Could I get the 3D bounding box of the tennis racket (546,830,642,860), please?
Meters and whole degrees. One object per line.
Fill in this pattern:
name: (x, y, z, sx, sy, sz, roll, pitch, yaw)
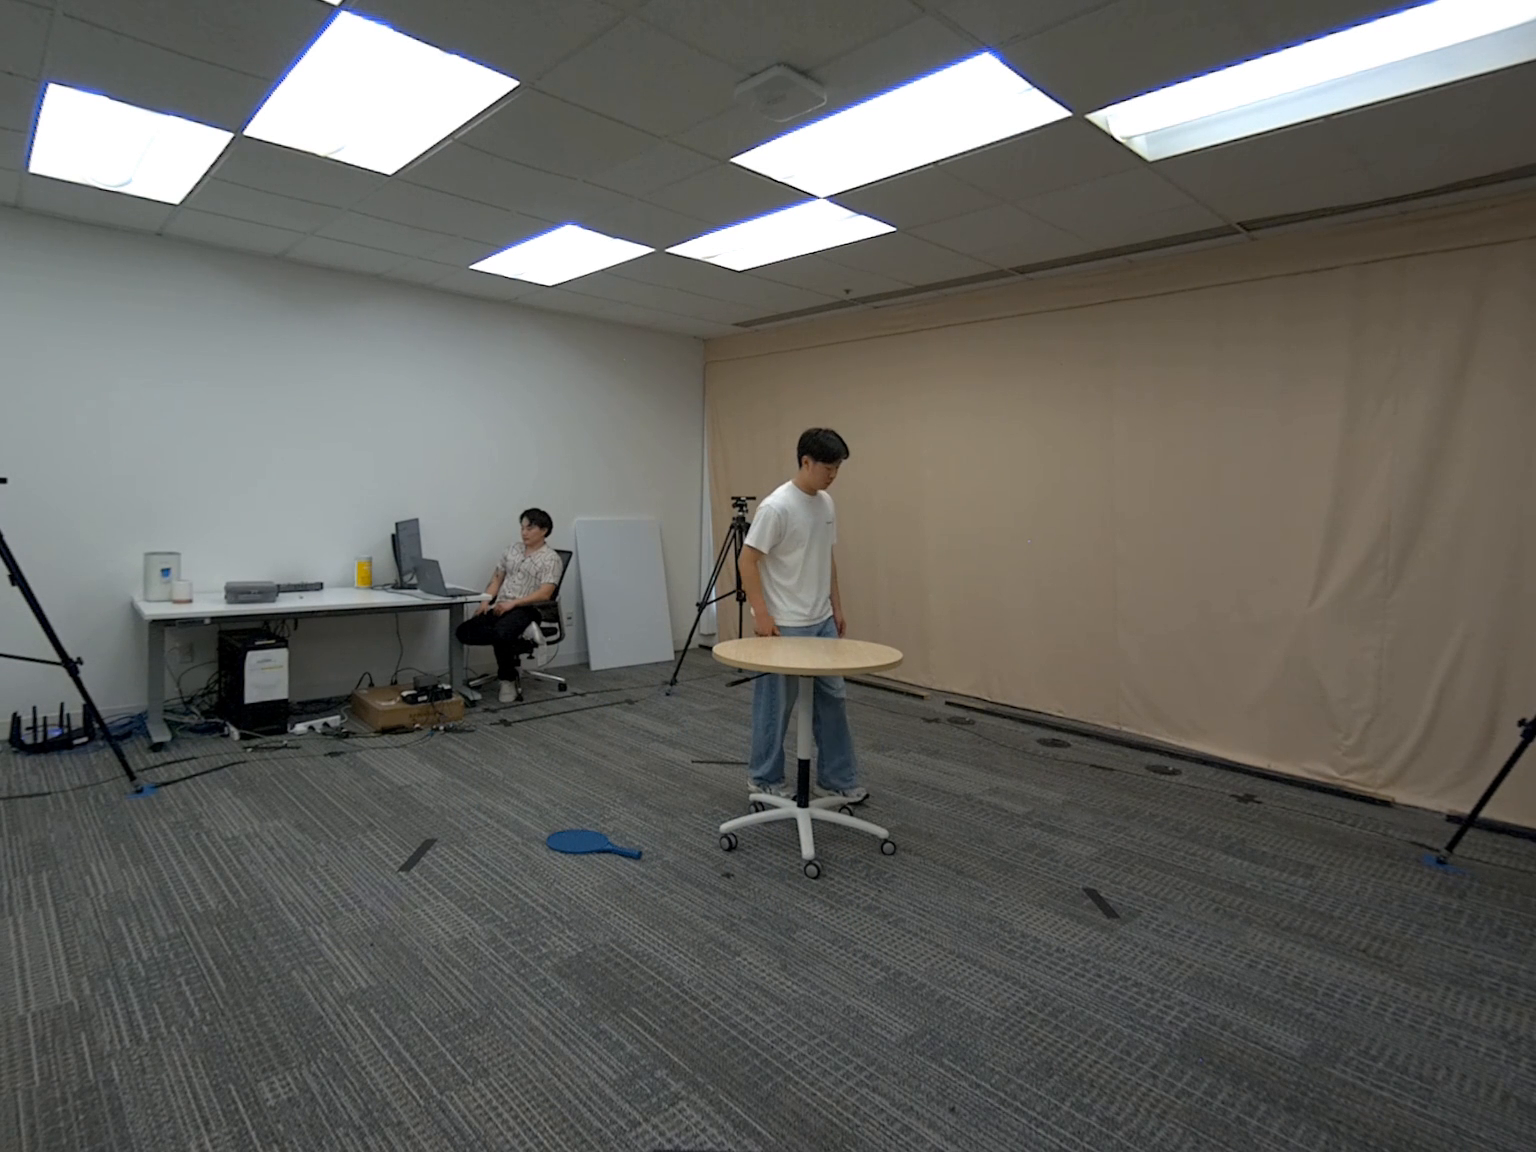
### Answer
tennis racket: (-0.691, 1.060, 3.321, 0.442, 0.031, 0.210, 2, 6, 28)
